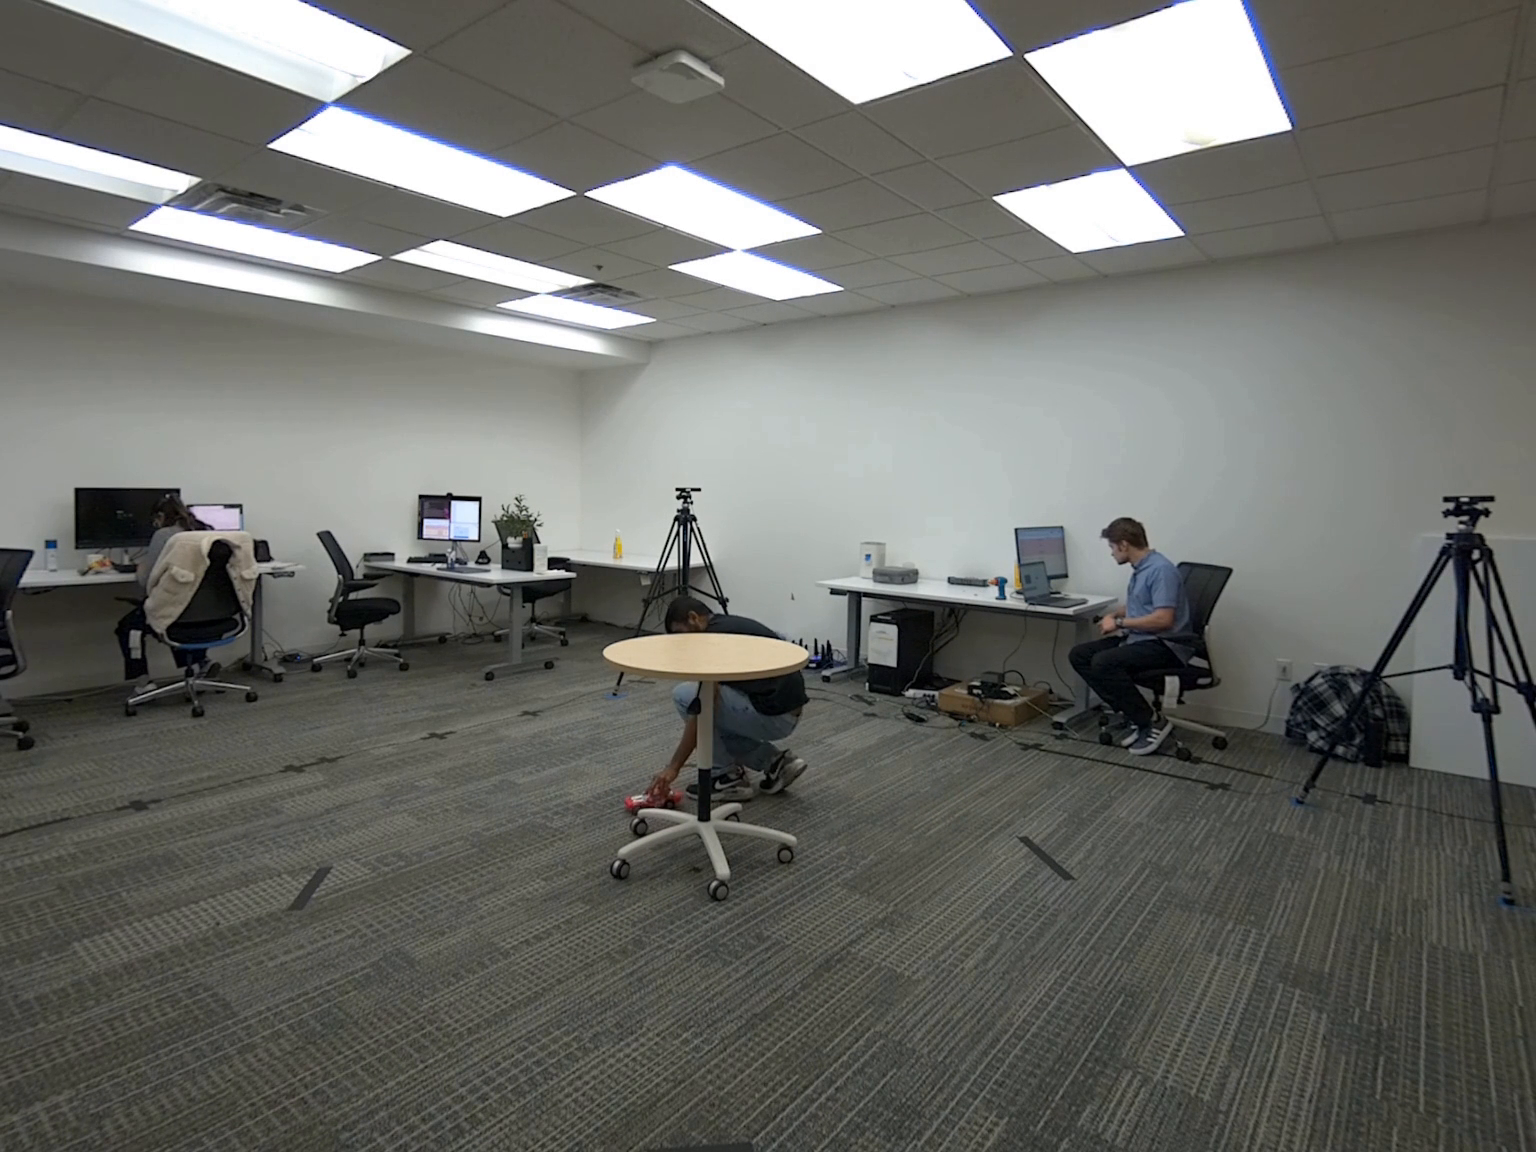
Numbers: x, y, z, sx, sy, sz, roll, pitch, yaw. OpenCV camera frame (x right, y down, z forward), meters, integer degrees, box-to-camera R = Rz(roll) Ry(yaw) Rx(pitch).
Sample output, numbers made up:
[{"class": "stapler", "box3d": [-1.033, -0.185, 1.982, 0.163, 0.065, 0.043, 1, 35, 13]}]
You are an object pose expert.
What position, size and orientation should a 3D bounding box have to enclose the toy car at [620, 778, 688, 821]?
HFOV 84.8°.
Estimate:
[{"class": "toy car", "box3d": [-0.504, 0.970, 3.689, 0.250, 0.082, 0.134, -13, 10, -23]}]
